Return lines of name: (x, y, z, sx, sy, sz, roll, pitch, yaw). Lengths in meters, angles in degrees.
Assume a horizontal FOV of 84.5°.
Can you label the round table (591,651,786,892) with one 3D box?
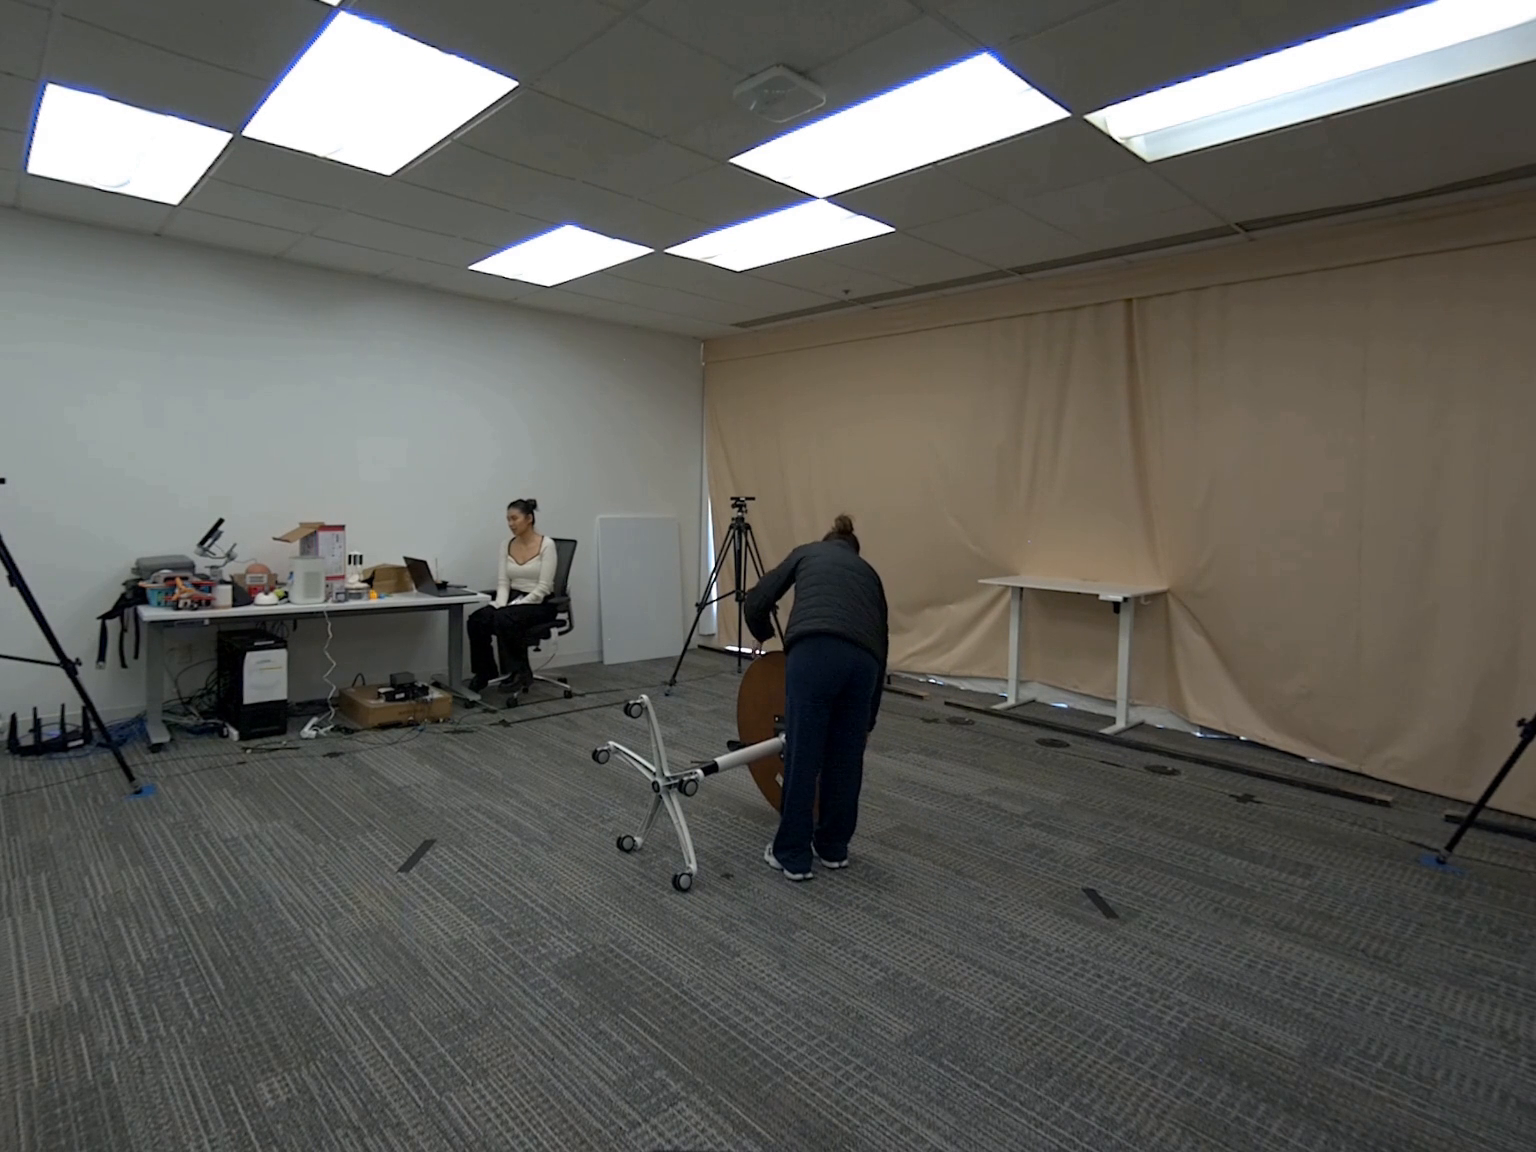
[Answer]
round table: (-0.191, 0.750, 3.340, 0.771, 0.780, 0.805, -10, 10, -38)
